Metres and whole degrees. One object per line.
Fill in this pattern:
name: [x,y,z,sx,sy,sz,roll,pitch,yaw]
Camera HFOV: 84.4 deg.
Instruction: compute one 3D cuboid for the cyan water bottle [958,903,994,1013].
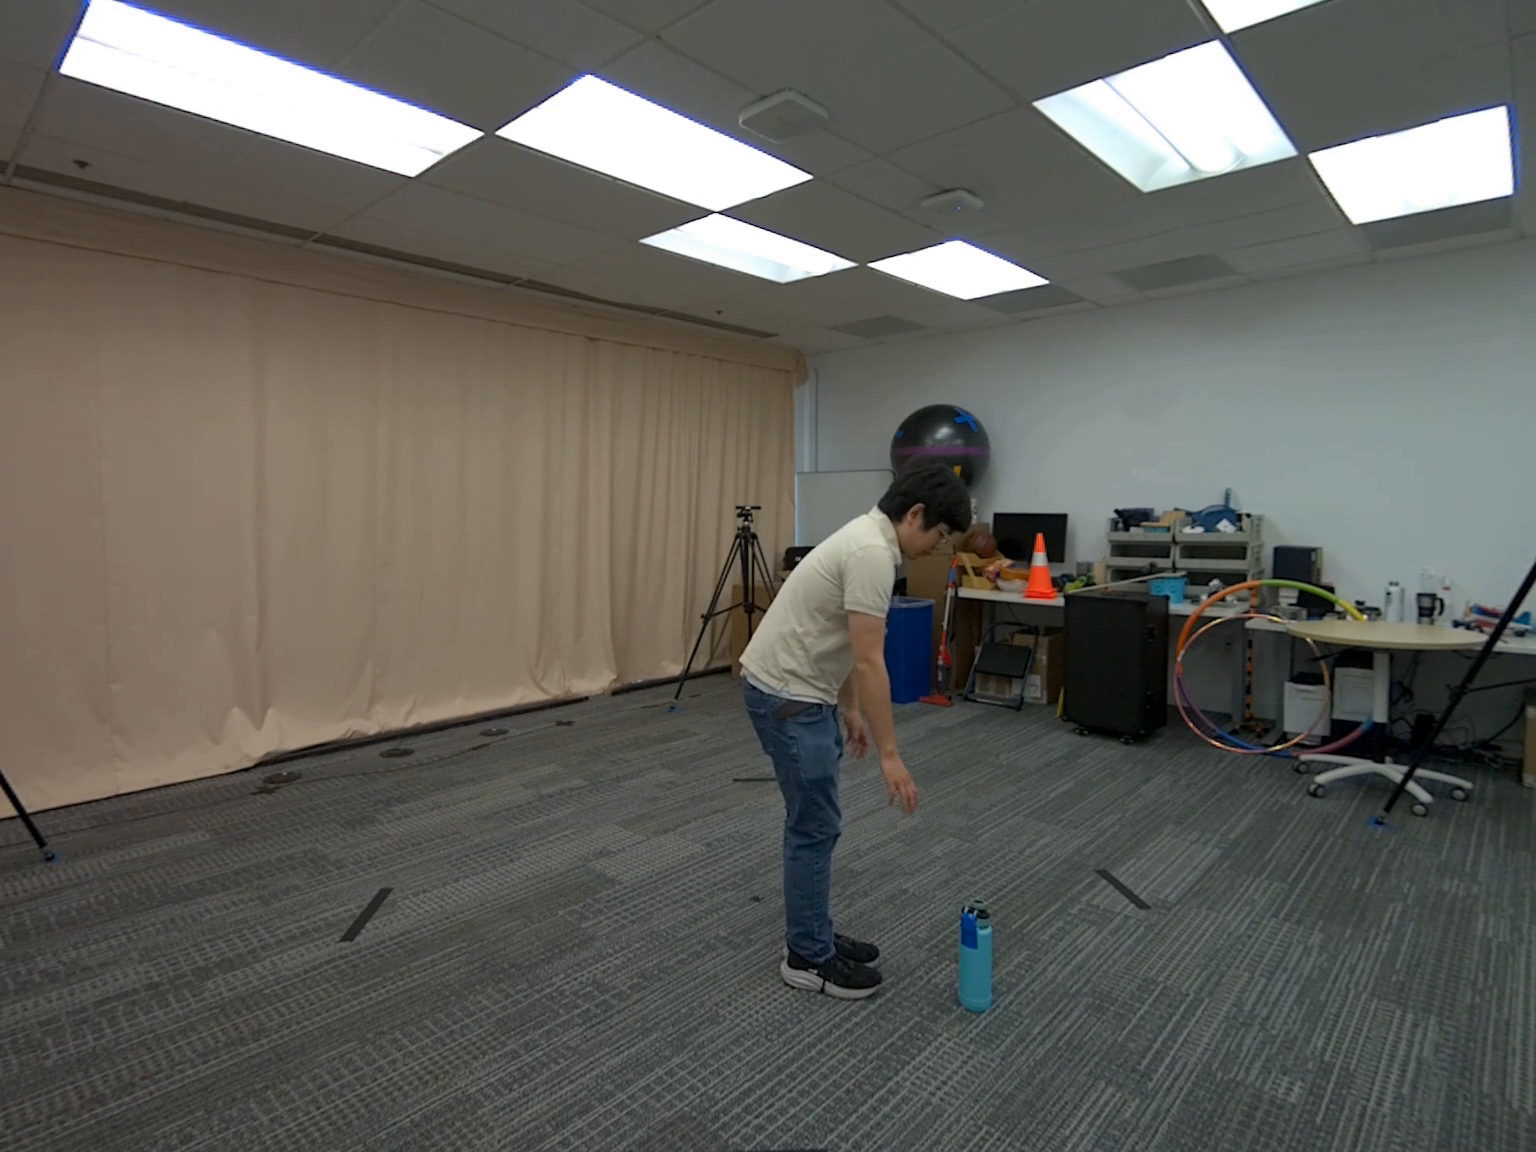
cyan water bottle: [0.587,1.057,2.338,0.092,0.283,0.092,-1,2,-2]
